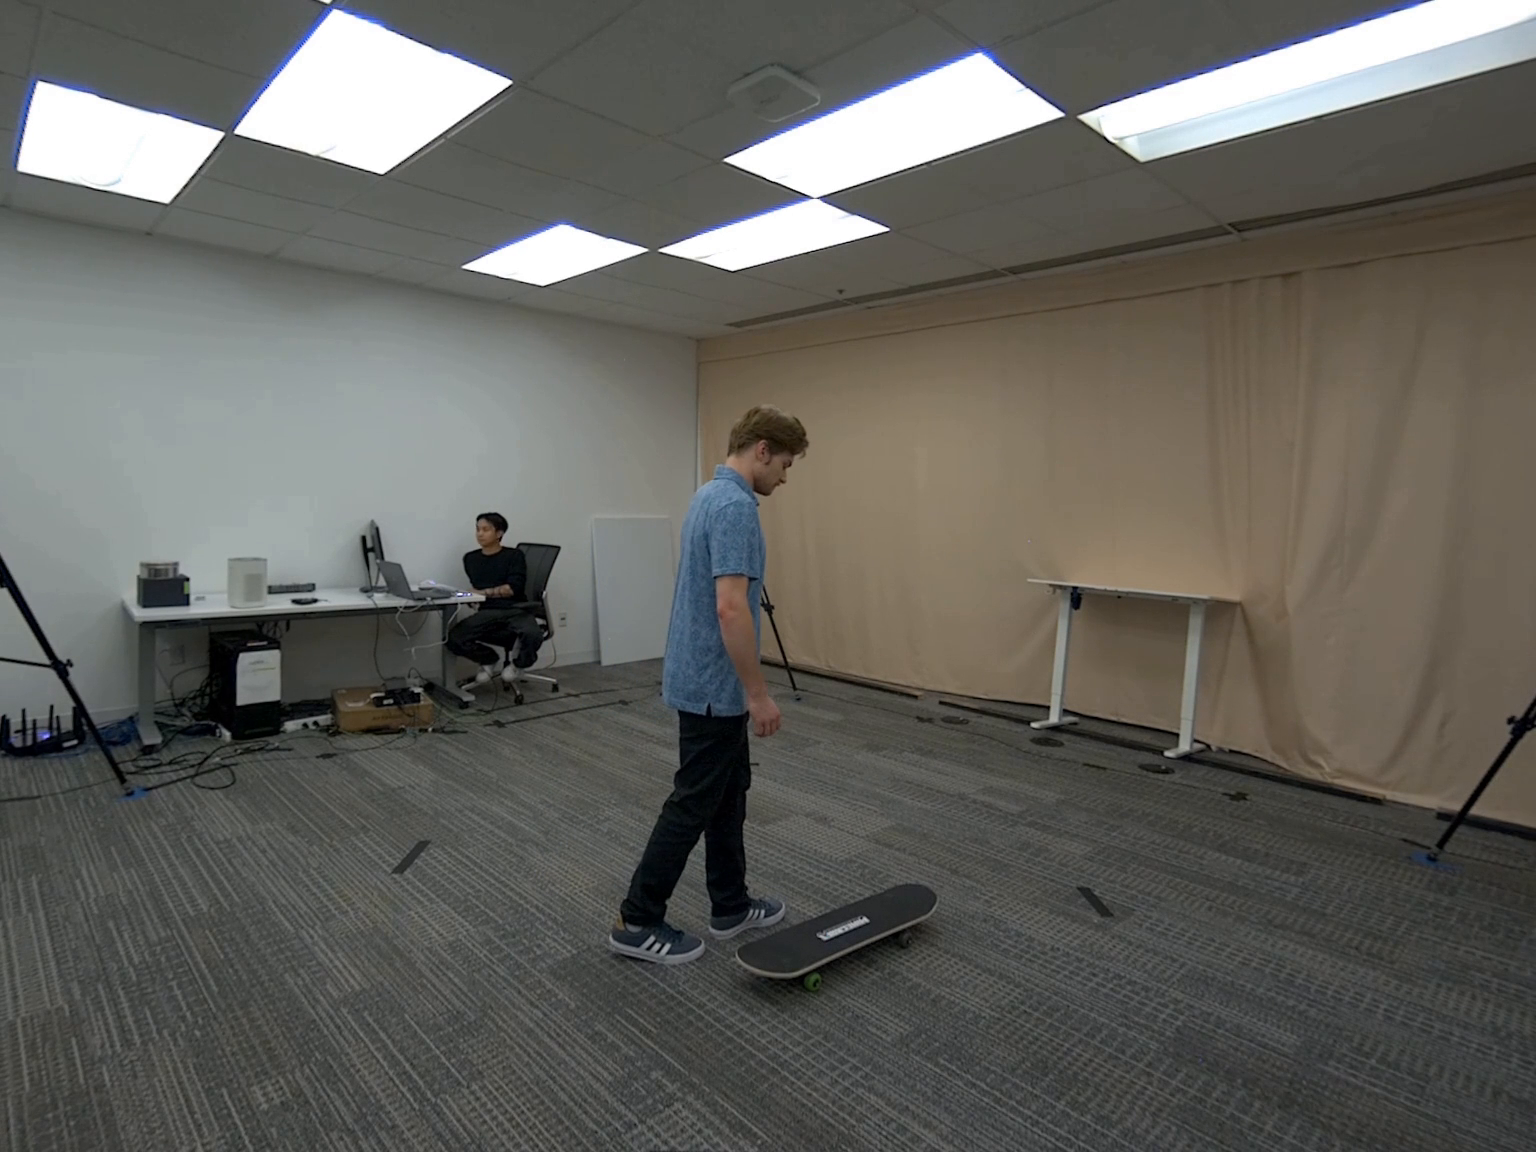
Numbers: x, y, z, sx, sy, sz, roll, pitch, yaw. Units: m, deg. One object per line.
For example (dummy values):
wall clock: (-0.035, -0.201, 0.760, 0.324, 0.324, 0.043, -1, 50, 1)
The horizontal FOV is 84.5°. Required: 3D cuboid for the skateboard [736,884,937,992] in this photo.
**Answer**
skateboard: (0.226, 1.109, 2.566, 0.768, 0.110, 0.198, -3, 7, -38)
